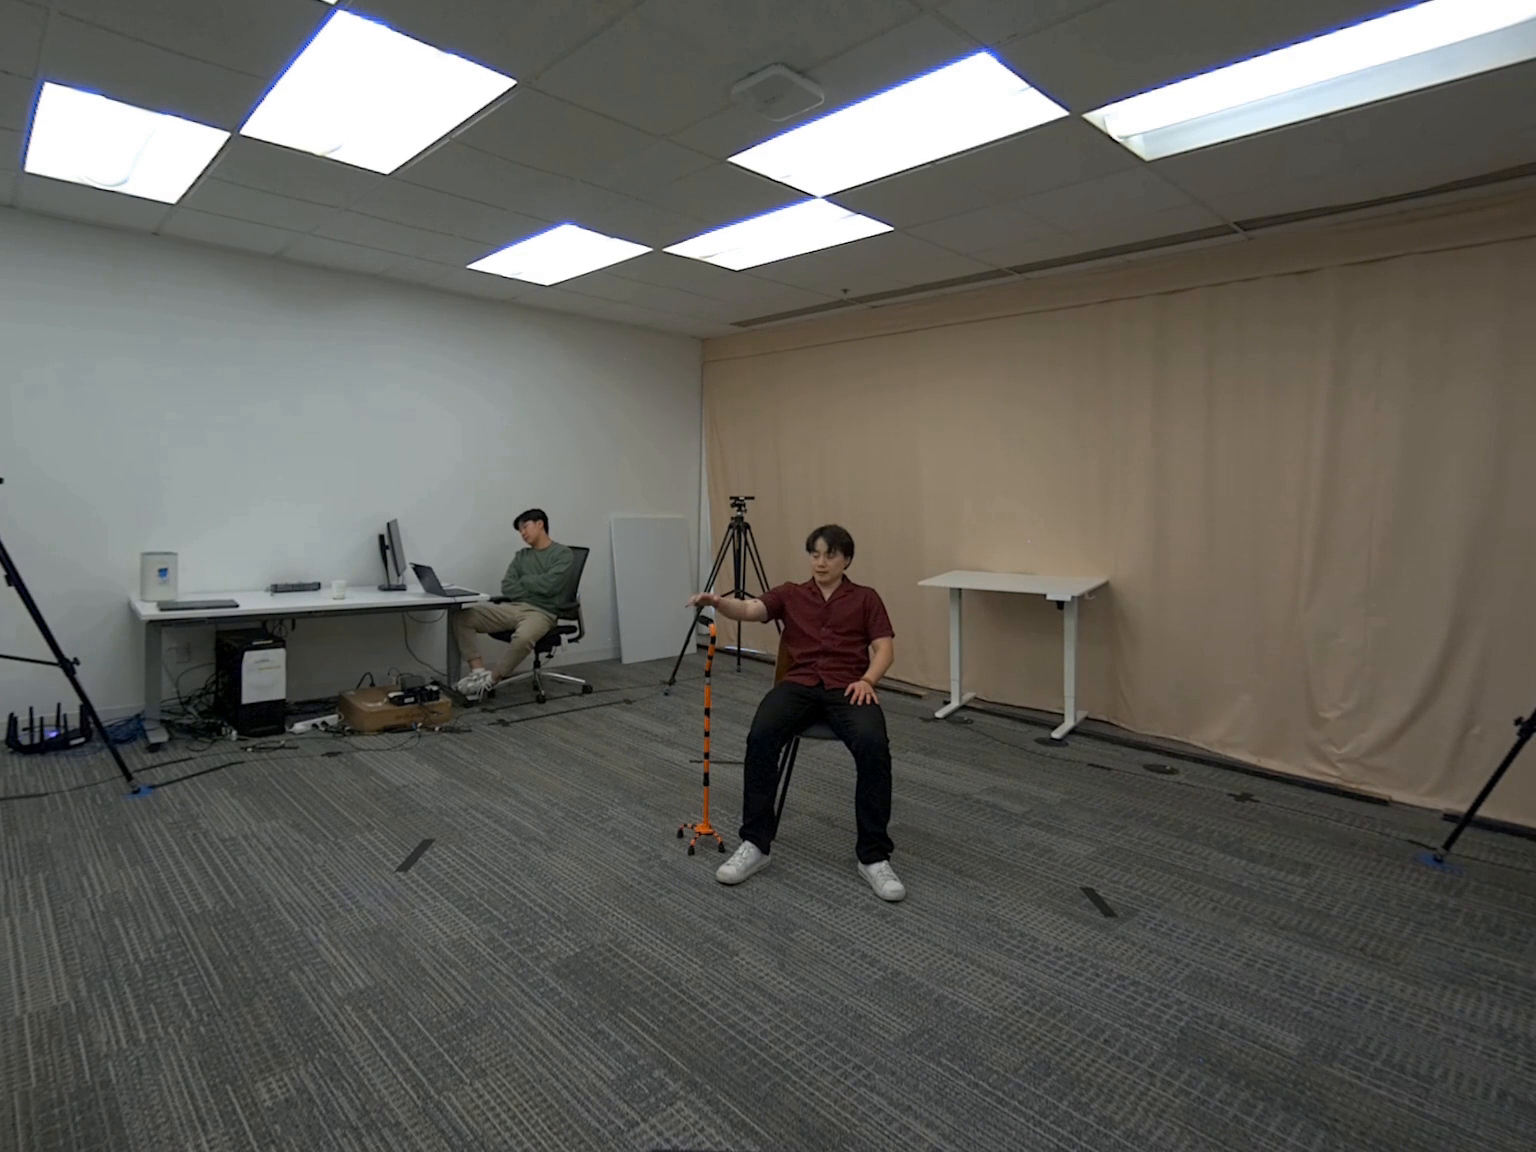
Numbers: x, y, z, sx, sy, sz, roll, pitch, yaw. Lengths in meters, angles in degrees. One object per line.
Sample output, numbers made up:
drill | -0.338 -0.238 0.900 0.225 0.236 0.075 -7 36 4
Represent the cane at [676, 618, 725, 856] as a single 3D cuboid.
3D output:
cane | -0.263 0.617 3.360 0.149 0.906 0.210 1 3 -23
